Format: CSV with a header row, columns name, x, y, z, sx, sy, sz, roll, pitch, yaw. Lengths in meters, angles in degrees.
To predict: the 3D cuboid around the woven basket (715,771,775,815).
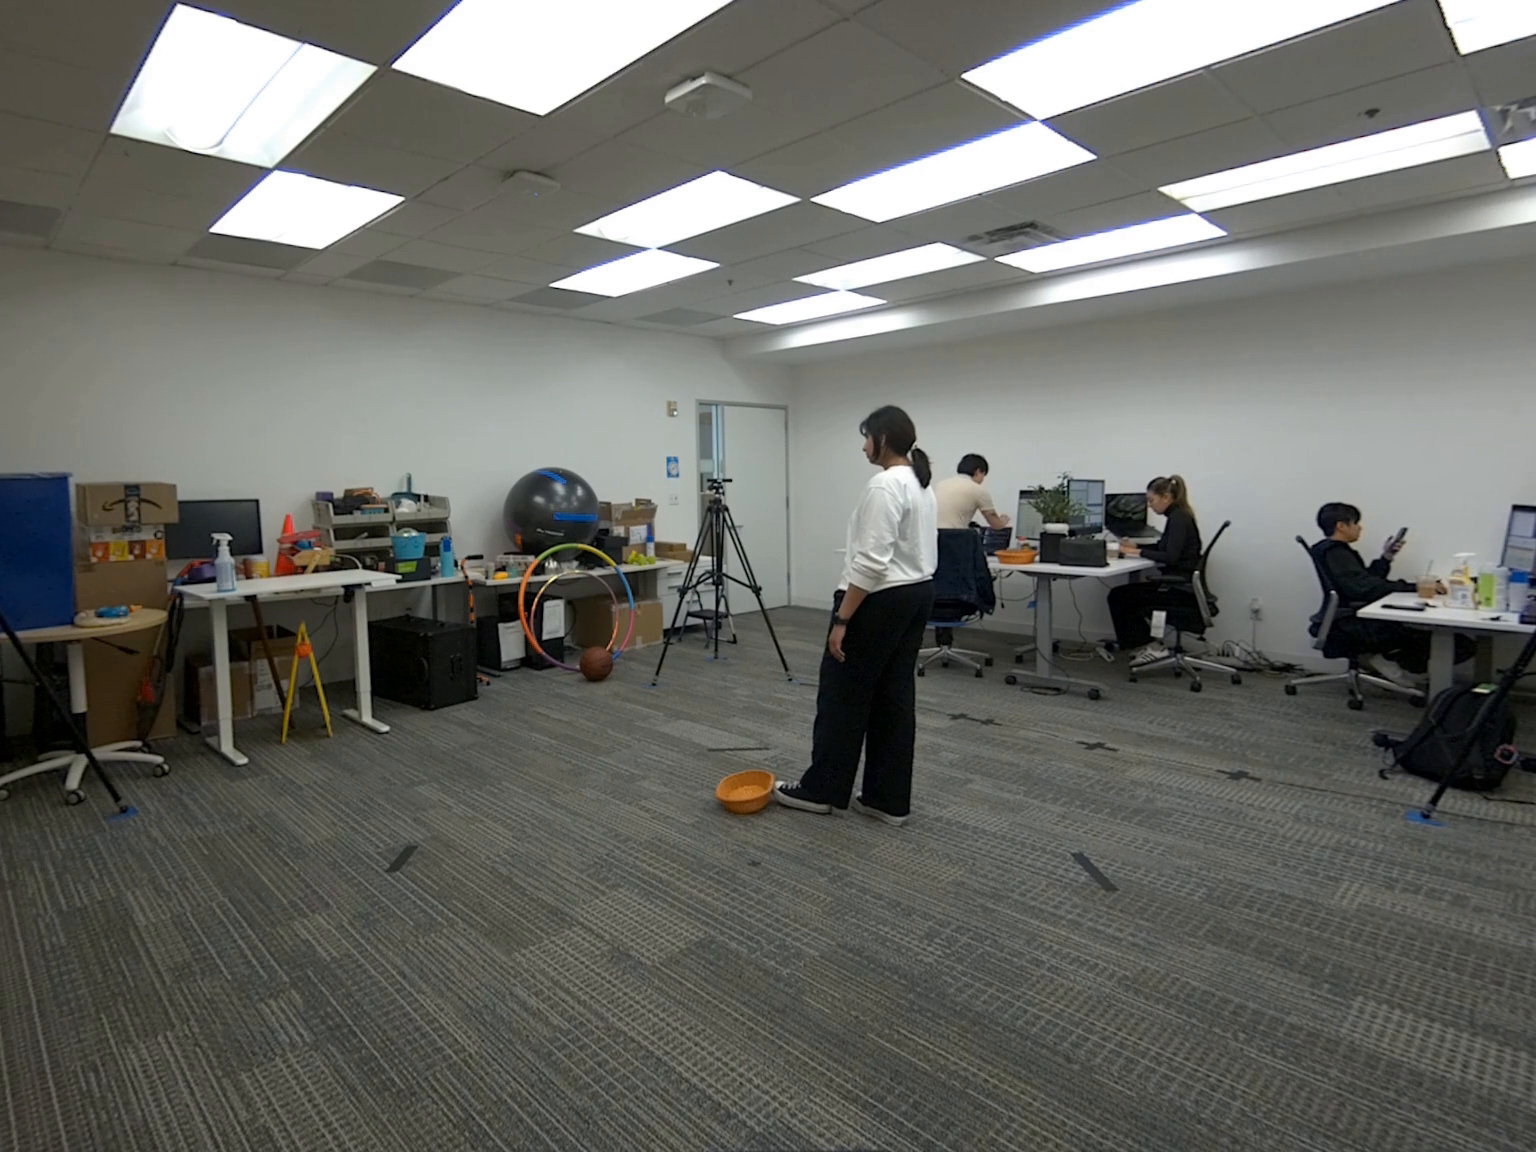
name,x,y,z,sx,sy,sz,roll,pitch,yaw
woven basket,-0.092,0.934,3.698,0.254,0.073,0.349,-7,6,9
